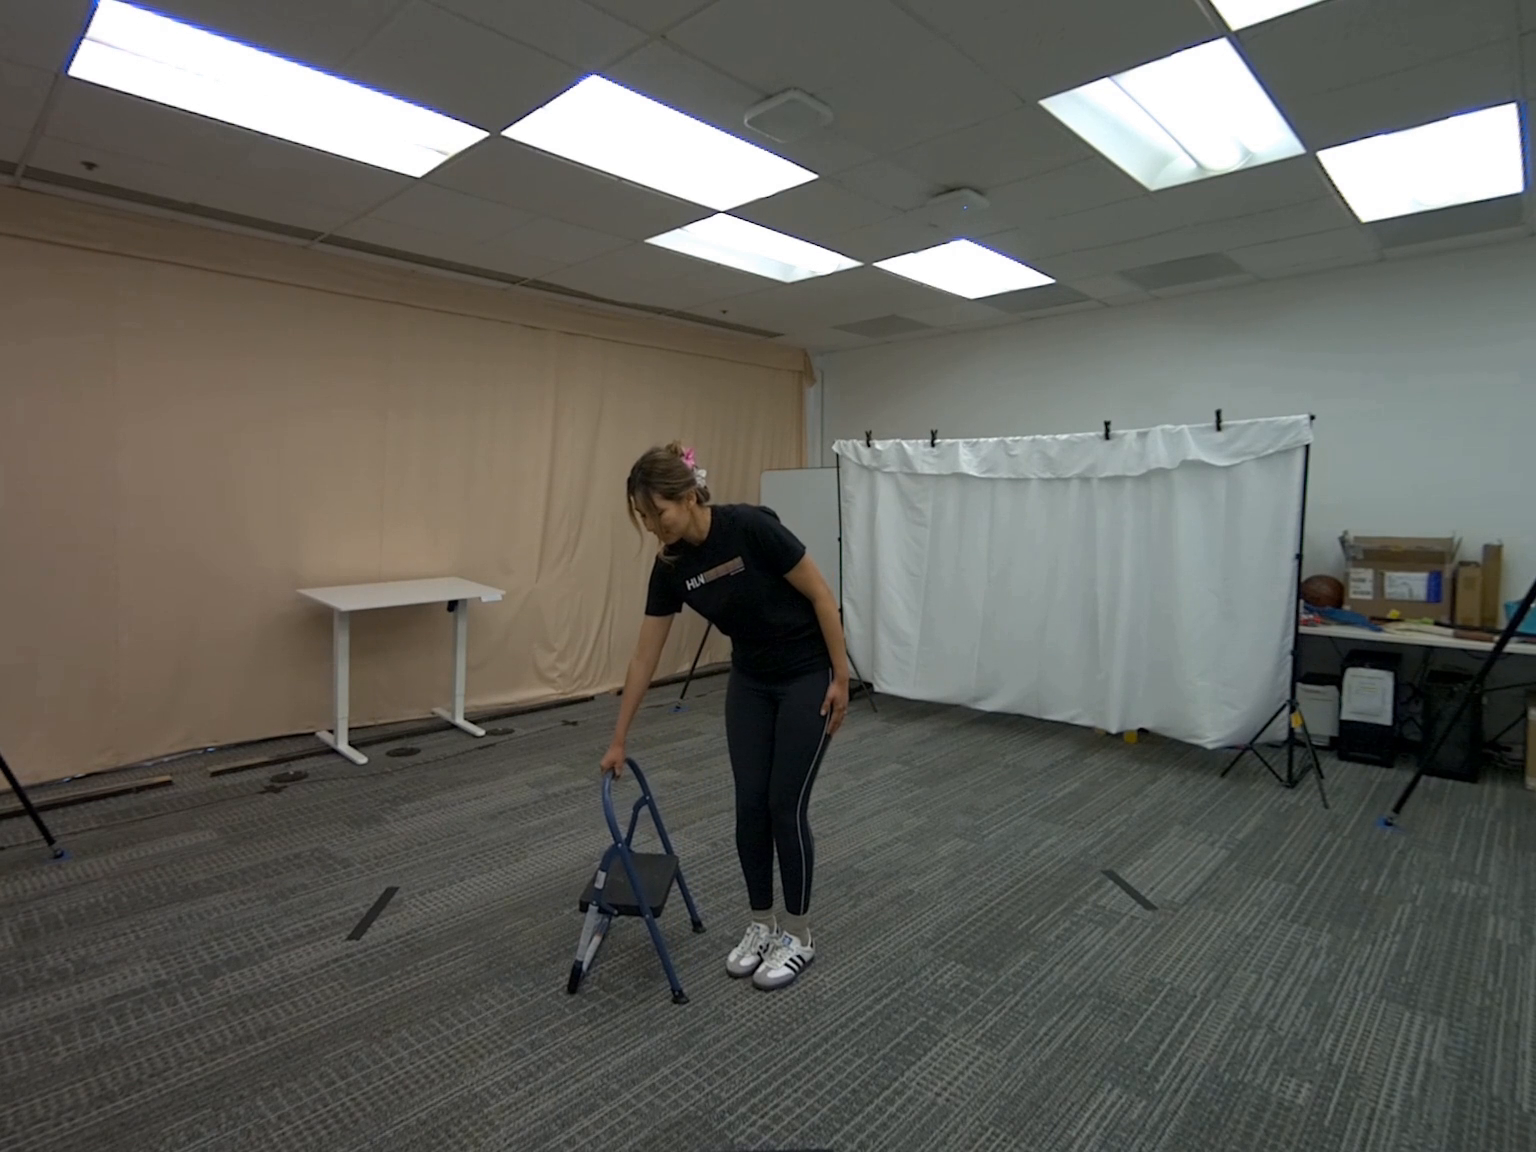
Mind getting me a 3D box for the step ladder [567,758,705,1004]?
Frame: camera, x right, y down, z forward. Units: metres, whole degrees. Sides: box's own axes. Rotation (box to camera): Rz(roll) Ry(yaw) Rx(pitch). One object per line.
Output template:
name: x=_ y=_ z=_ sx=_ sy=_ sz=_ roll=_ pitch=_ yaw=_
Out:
step ladder: x=-0.388 y=0.881 z=2.568 sx=0.351 sy=0.605 sz=0.429 roll=1 pitch=4 yaw=4
